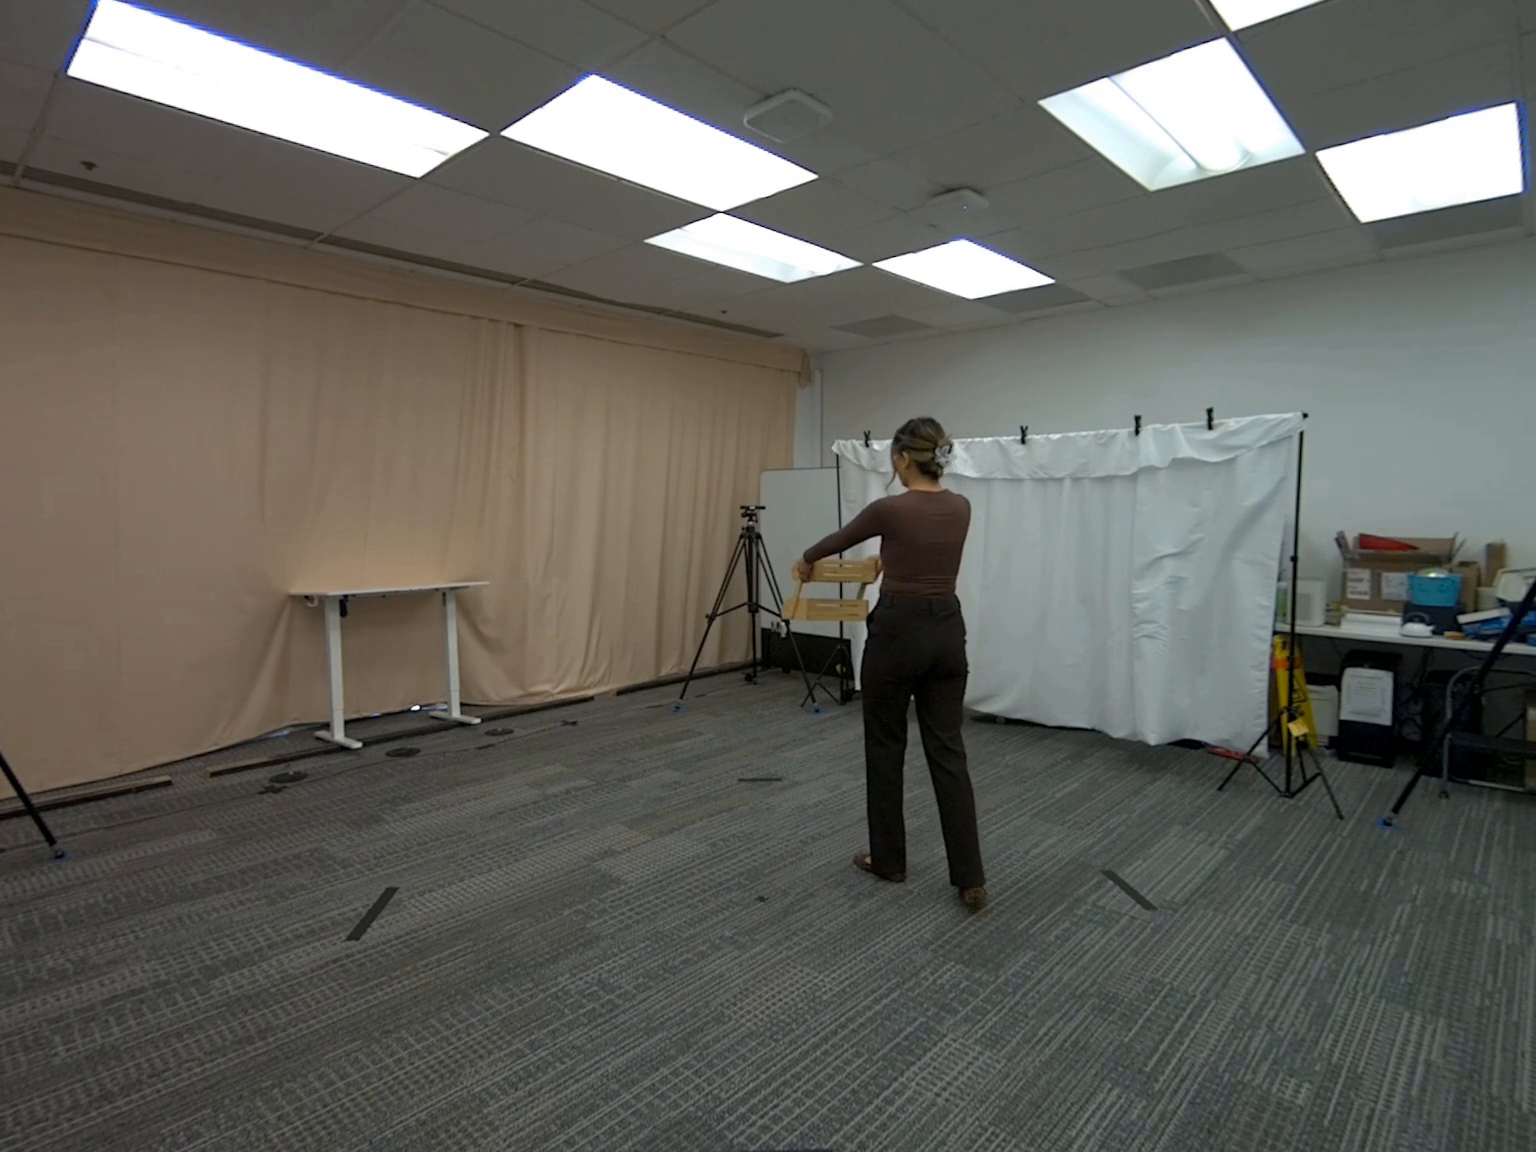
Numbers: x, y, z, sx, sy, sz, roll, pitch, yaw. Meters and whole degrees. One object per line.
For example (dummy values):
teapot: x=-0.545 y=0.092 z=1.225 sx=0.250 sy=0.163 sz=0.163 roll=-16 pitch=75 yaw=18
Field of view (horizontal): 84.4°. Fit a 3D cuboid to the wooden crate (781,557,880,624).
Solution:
wooden crate: x=0.269 y=0.059 z=3.674 sx=0.317 sy=0.273 sz=0.308 roll=1 pitch=0 yaw=-22
